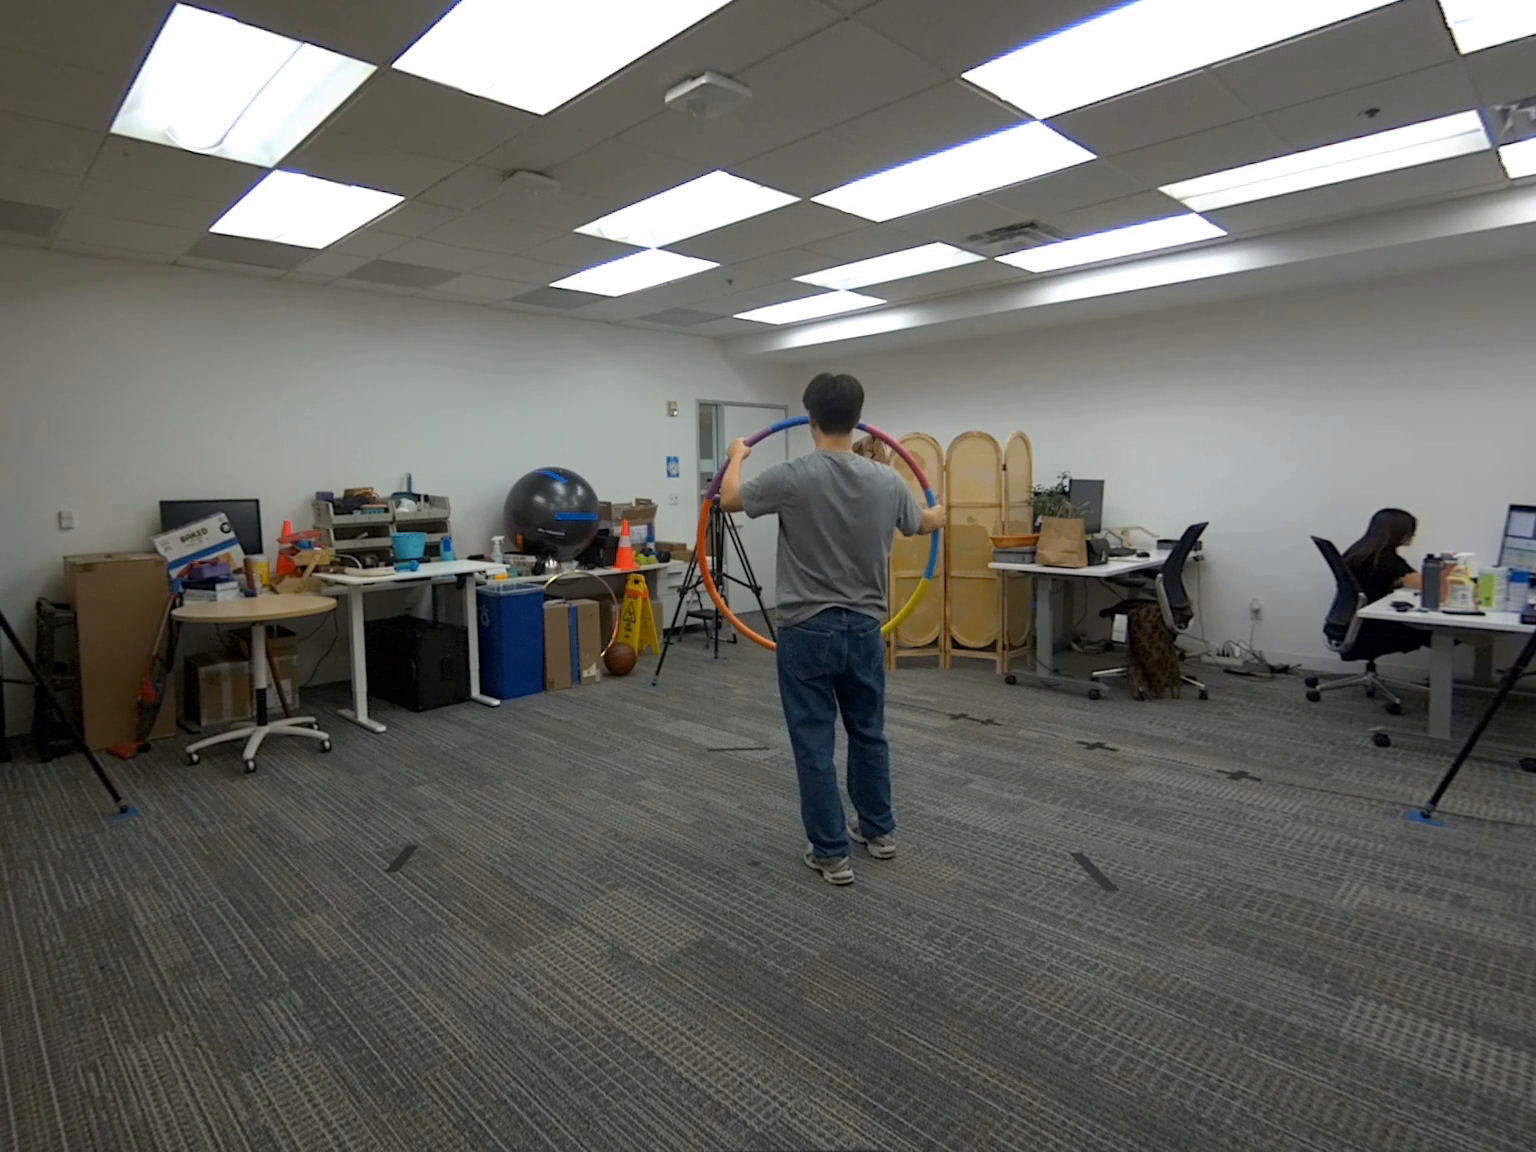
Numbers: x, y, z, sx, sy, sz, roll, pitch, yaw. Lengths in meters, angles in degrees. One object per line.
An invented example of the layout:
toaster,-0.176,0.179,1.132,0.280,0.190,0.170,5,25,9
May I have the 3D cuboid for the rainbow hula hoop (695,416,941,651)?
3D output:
rainbow hula hoop,0.202,-0.152,3.415,0.977,0.968,0.036,-1,12,-1
